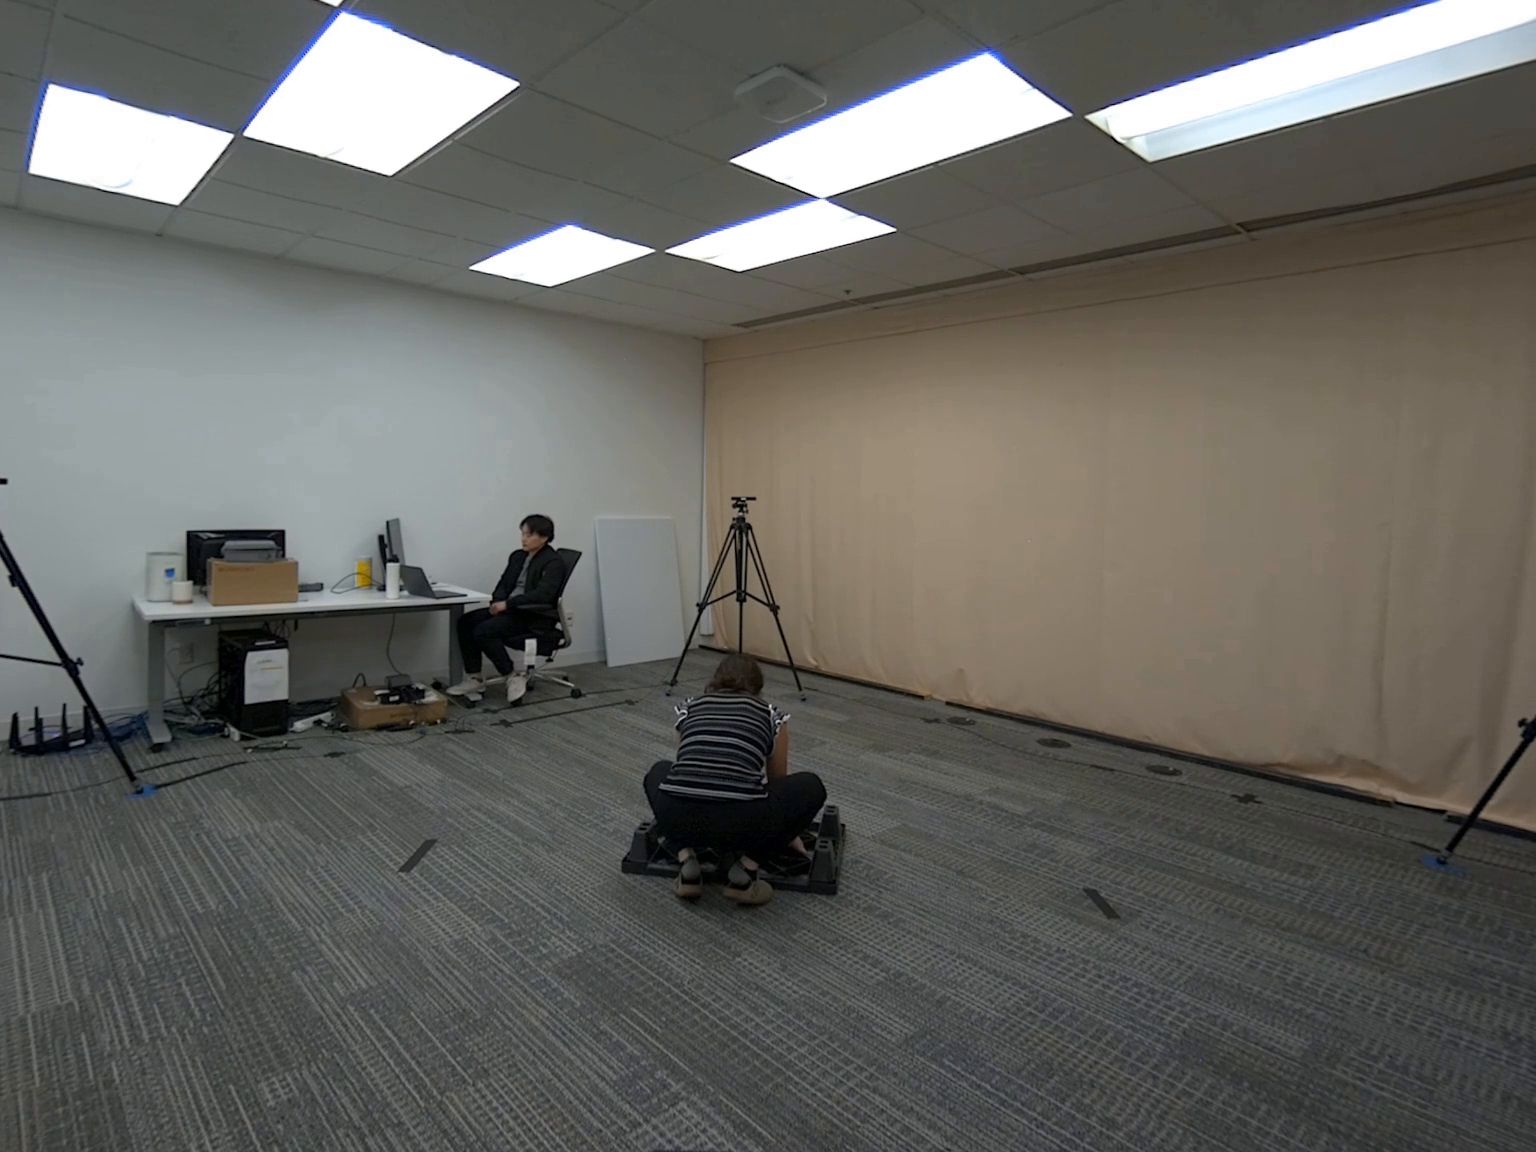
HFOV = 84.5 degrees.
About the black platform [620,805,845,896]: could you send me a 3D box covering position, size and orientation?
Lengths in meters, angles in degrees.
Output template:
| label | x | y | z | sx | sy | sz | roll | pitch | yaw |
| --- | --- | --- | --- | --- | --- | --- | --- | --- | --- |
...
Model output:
| label | x | y | z | sx | sy | sz | roll | pitch | yaw |
| --- | --- | --- | --- | --- | --- | --- | --- | --- | --- |
| black platform | -0.110 | 1.016 | 3.326 | 0.812 | 0.143 | 0.602 | 2 | 5 | 10 |
